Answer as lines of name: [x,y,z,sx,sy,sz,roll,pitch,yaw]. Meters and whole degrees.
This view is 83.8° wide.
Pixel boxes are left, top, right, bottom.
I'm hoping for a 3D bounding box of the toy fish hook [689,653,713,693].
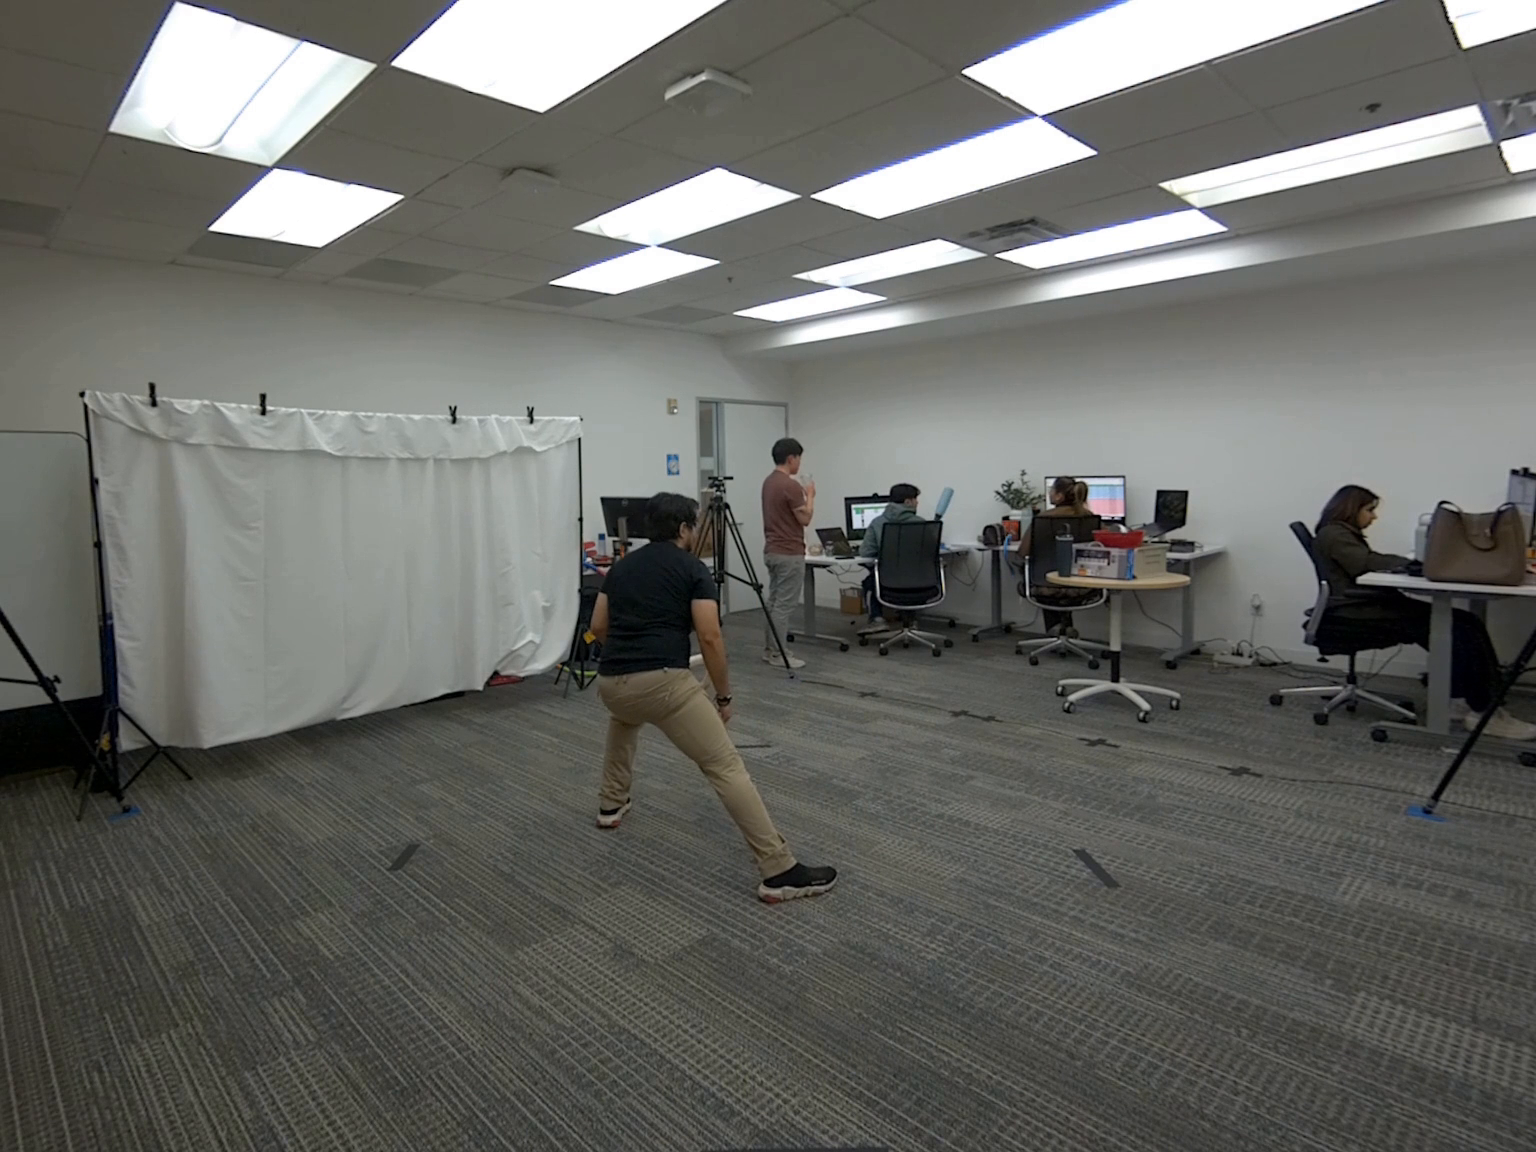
toy fish hook: [-0.390,0.444,3.751,0.050,0.223,0.490,27,13,41]
